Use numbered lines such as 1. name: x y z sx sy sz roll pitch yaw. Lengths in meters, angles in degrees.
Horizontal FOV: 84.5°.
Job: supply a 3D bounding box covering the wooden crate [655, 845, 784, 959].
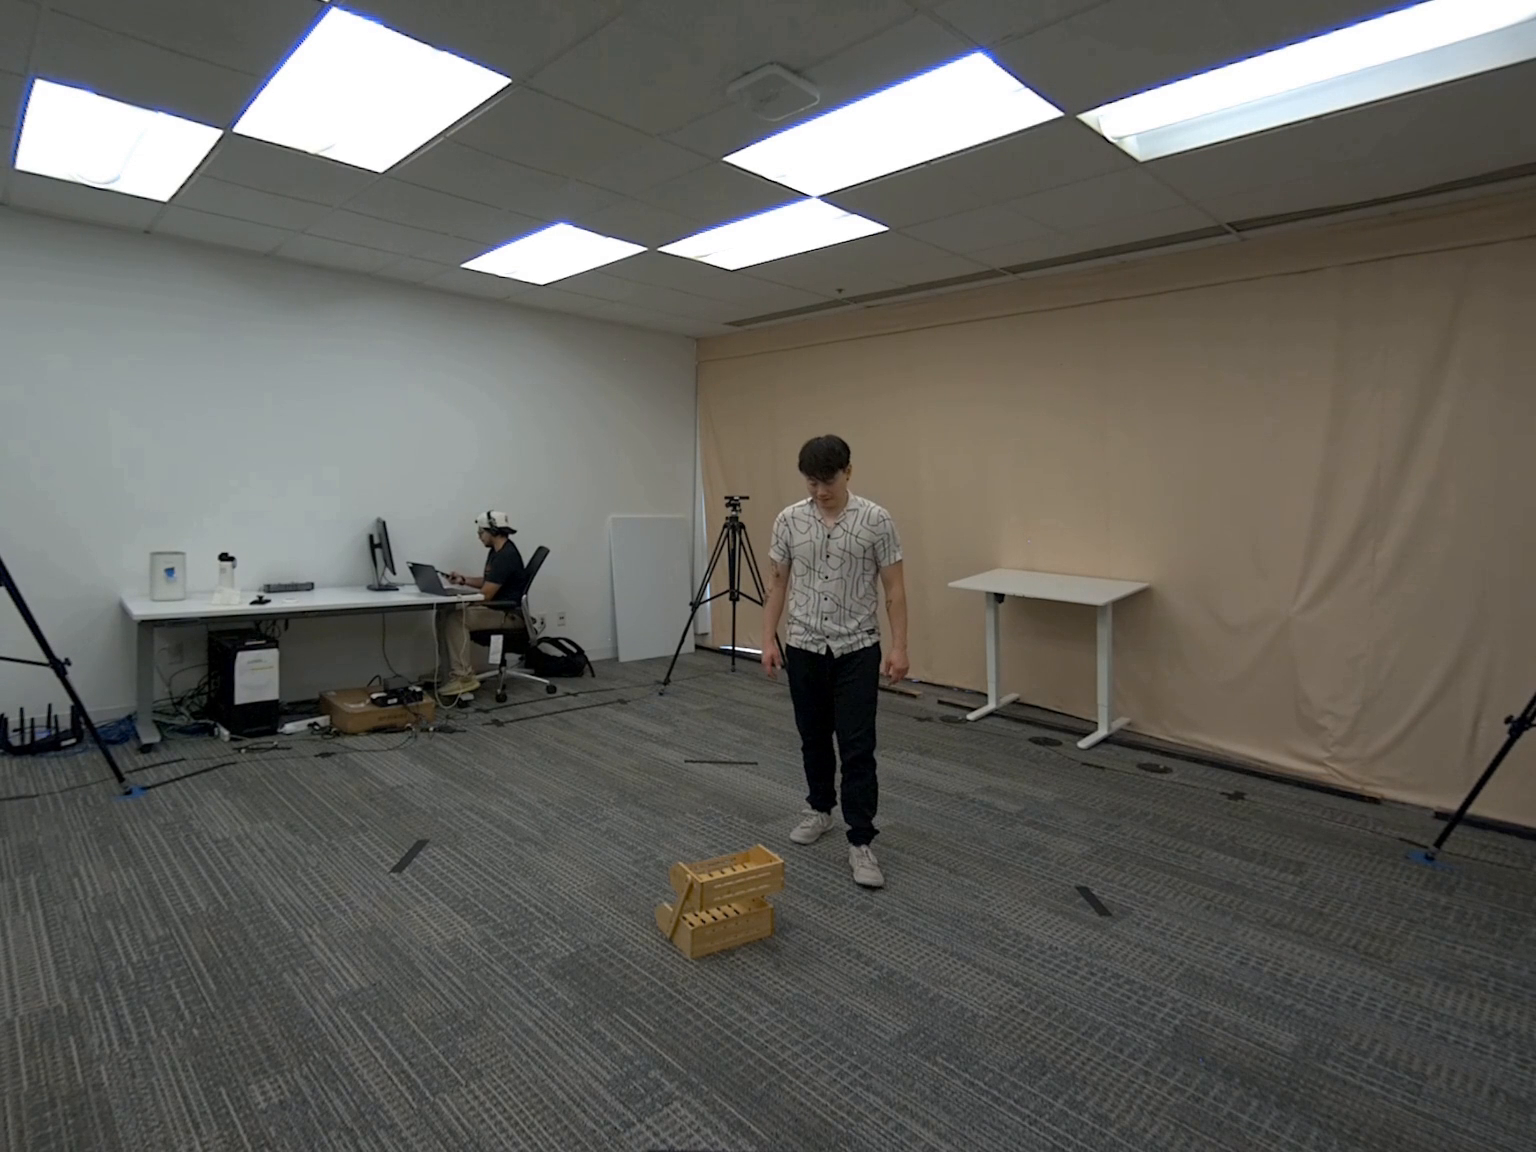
1. wooden crate: -0.164 1.005 2.681 0.317 0.272 0.309 -1 5 -33
